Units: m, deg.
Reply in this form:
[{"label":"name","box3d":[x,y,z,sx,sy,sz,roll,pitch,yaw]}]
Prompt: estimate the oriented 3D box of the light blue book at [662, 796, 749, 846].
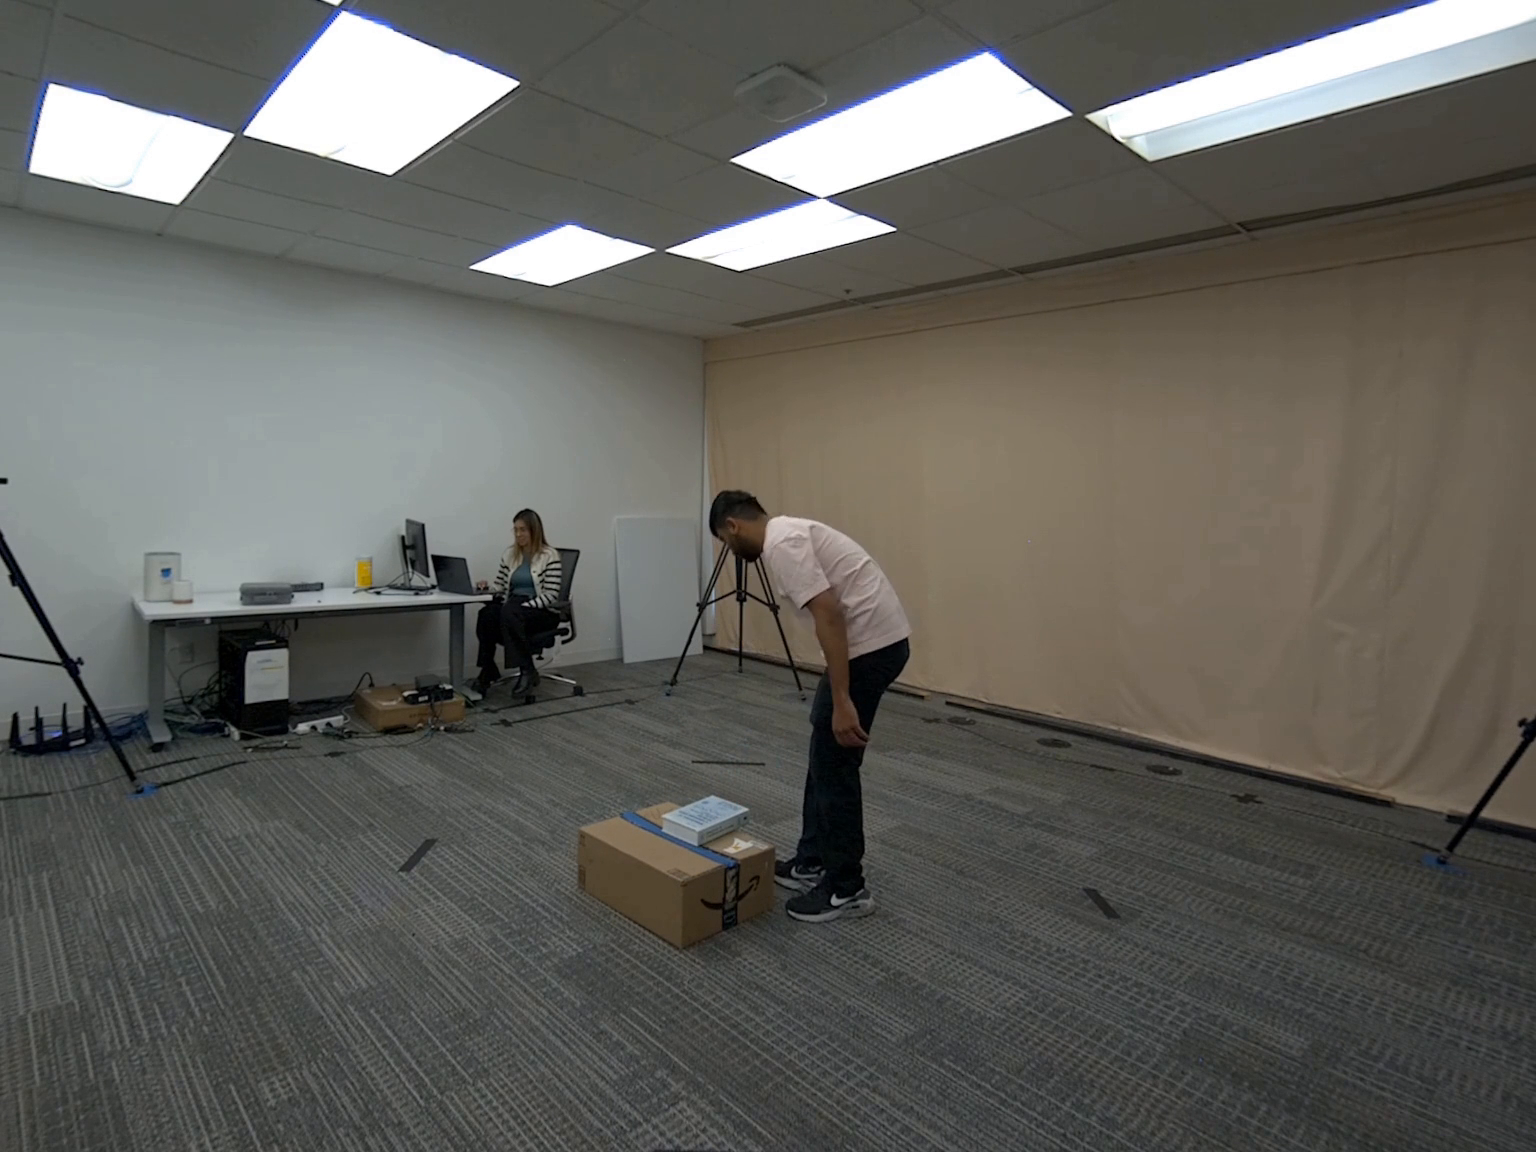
[{"label":"light blue book","box3d":[-0.224,0.868,3.007,0.196,0.059,0.255,5,8,40]}]
